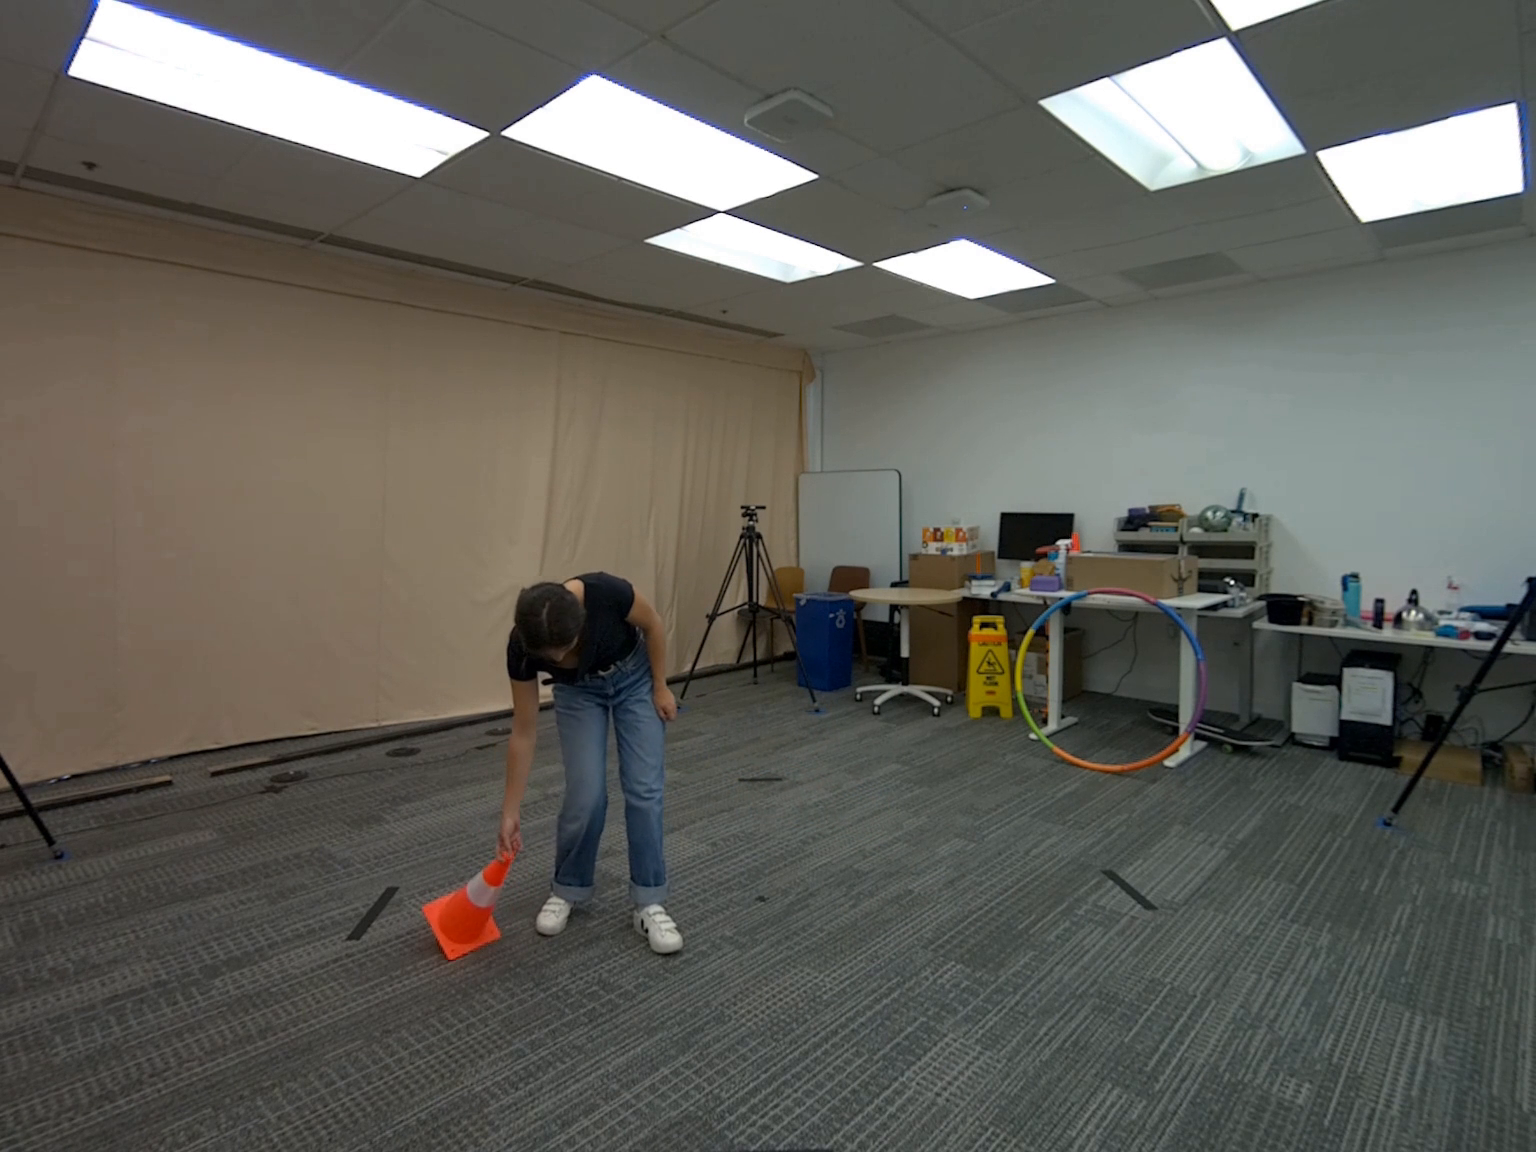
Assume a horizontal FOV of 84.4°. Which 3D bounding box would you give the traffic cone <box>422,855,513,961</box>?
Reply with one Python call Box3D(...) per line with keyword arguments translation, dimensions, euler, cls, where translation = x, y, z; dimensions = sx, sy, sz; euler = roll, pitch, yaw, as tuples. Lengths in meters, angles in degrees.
Box3D(translation=(-0.876, 0.981, 2.621), dimensions=(0.196, 0.384, 0.212), euler=(6, 36, -45), cls="traffic cone")
